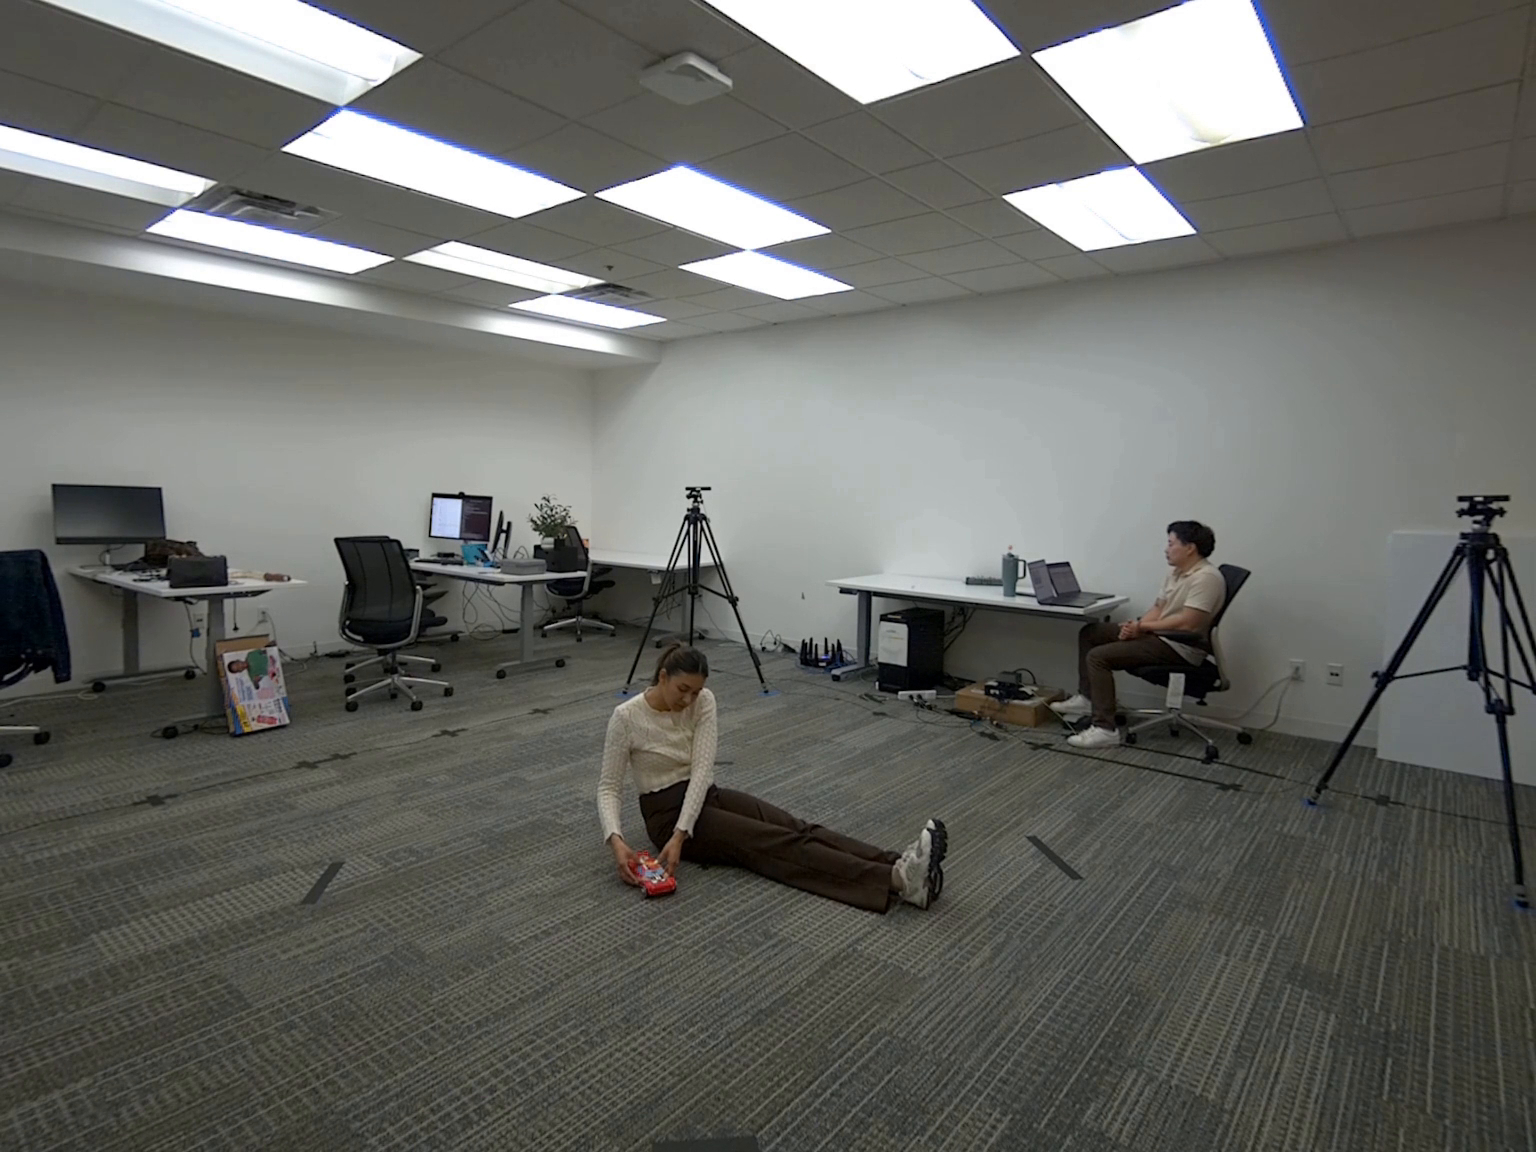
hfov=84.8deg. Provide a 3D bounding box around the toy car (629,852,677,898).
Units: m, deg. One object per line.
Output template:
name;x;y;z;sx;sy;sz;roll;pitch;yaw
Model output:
toy car;-0.431;1.043;2.979;0.127;0.082;0.264;-1;14;-29
